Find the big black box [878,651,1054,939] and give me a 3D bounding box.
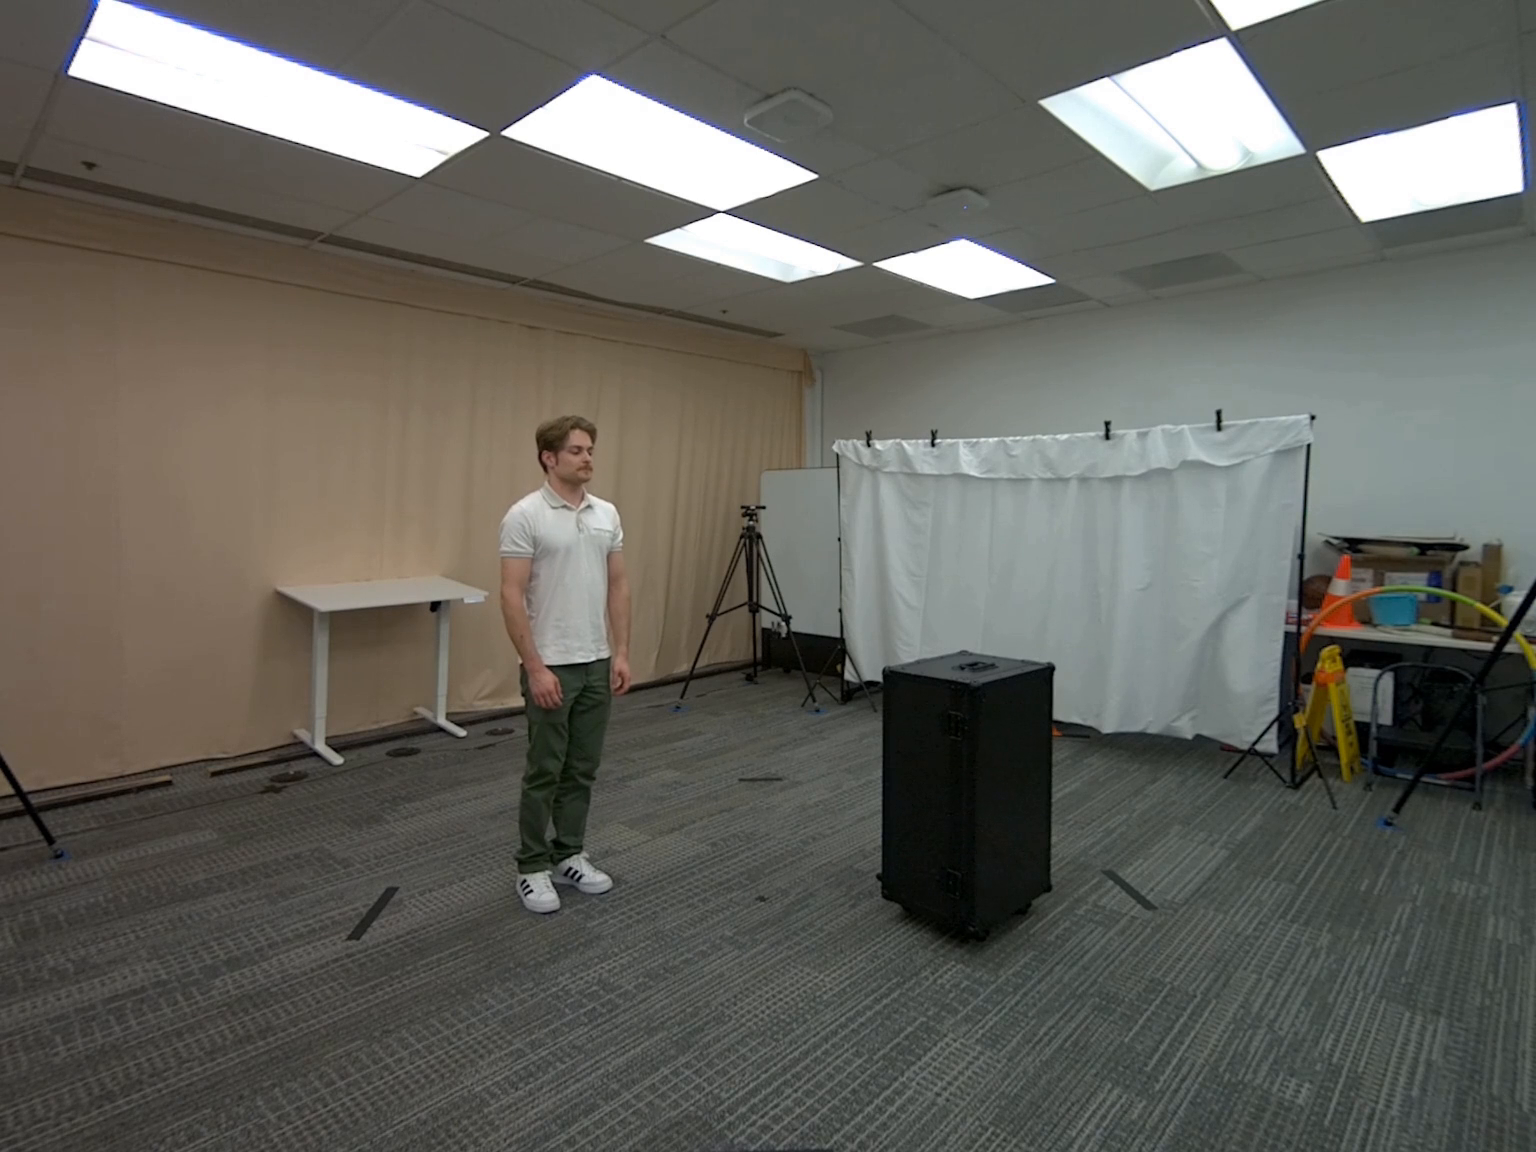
[{"bbox_3d":[0.678,0.734,2.839,0.507,0.867,0.398,-3,4,-43],"label":"big black box"}]
